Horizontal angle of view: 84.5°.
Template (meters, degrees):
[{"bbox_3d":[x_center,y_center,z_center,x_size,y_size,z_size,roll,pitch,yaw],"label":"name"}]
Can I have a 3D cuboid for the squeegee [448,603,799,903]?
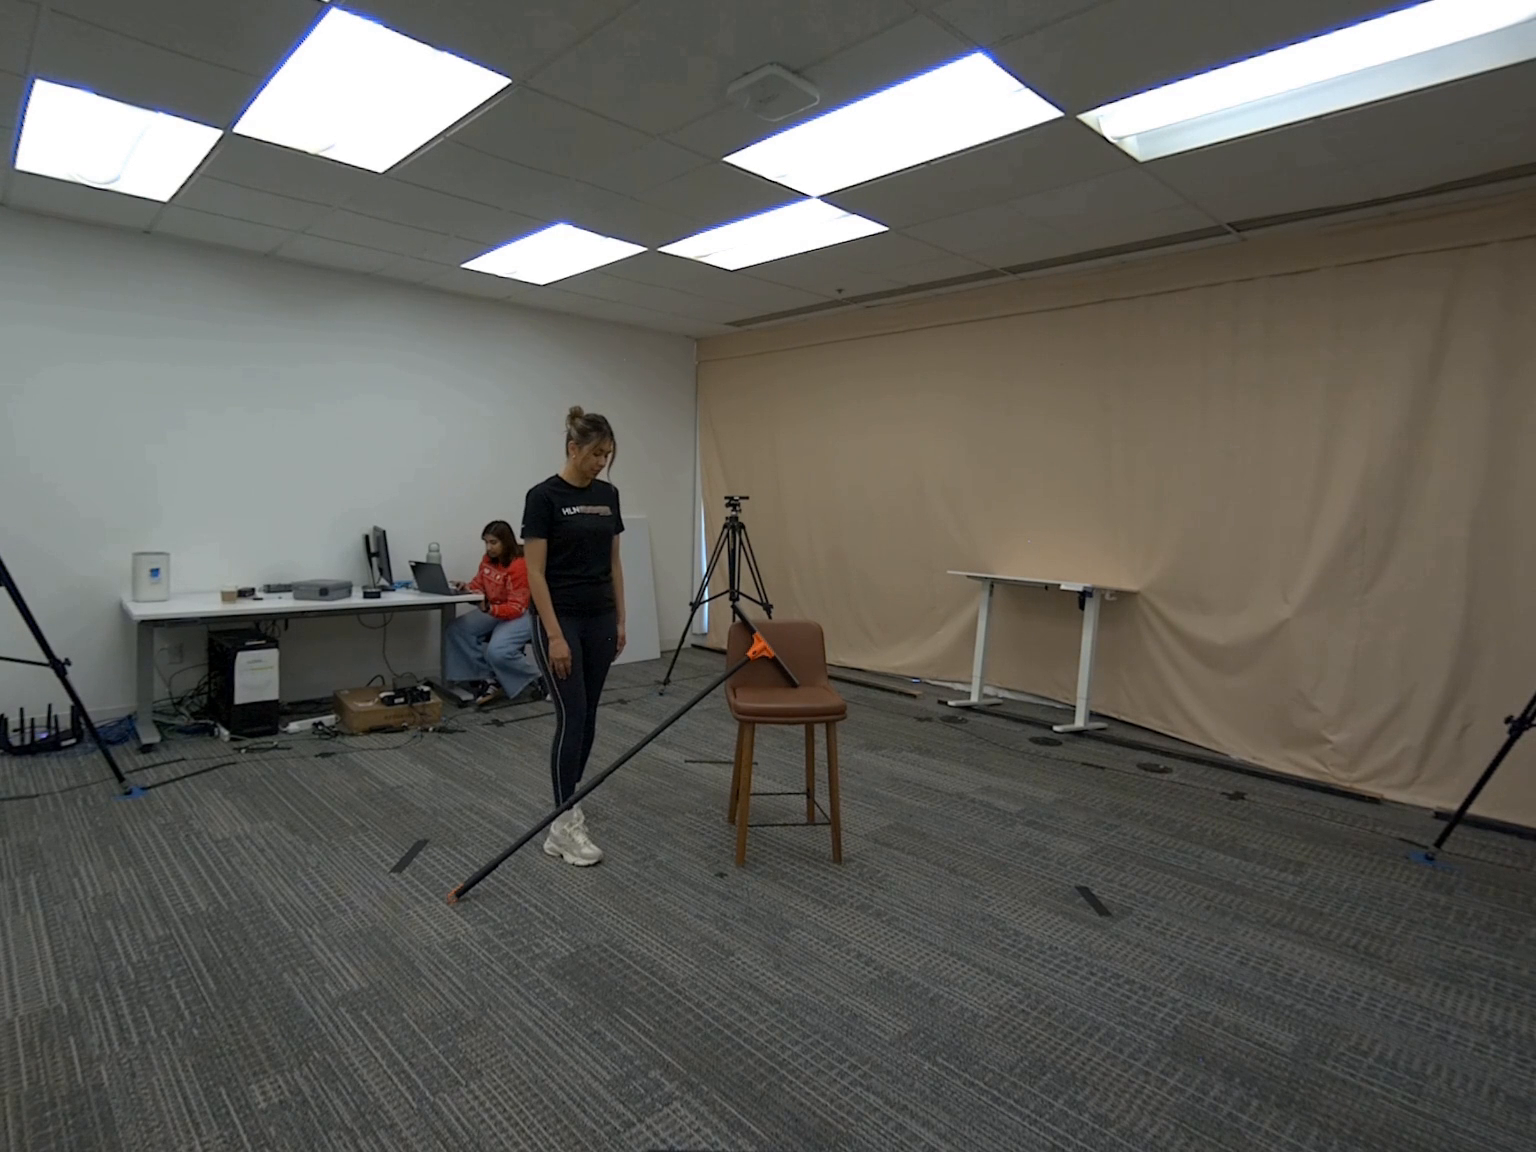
[{"bbox_3d":[-0.521,0.671,3.175,1.530,0.437,0.053,-38,1,-29],"label":"squeegee"}]
